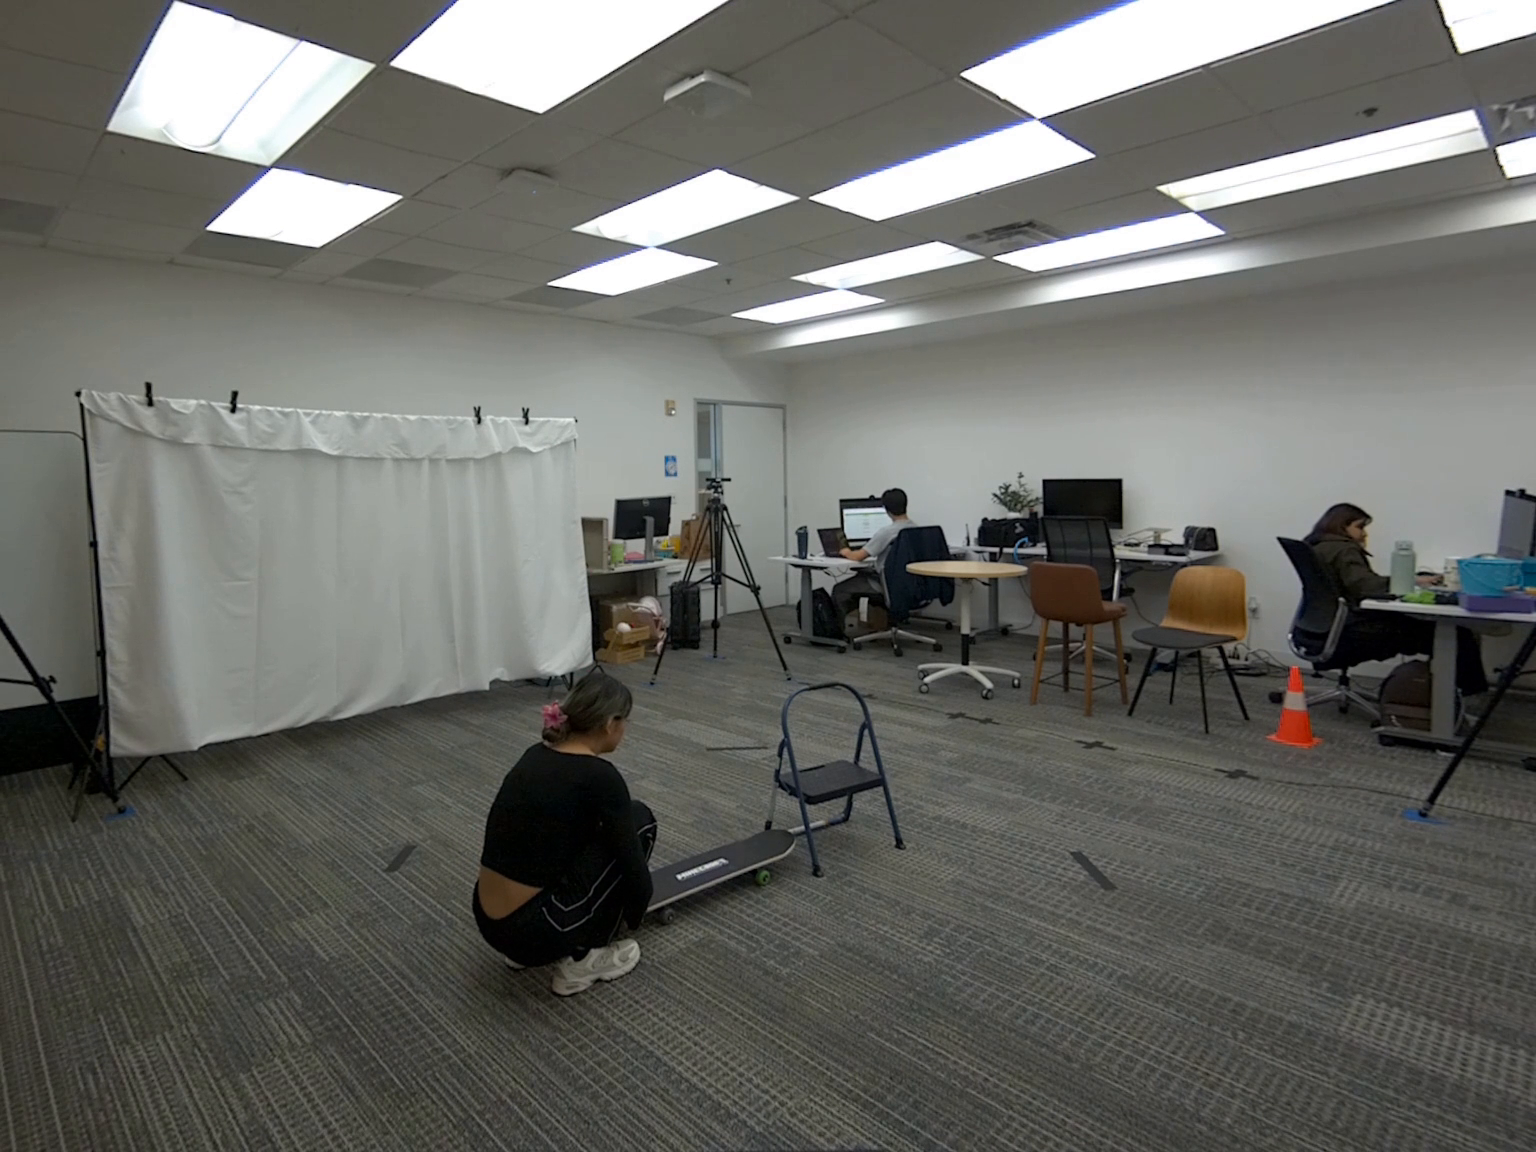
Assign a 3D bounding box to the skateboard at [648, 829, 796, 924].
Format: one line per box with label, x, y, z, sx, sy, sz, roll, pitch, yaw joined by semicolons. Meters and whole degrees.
skateboard;-0.219;1.019;2.871;0.766;0.110;0.199;-7;8;-39
